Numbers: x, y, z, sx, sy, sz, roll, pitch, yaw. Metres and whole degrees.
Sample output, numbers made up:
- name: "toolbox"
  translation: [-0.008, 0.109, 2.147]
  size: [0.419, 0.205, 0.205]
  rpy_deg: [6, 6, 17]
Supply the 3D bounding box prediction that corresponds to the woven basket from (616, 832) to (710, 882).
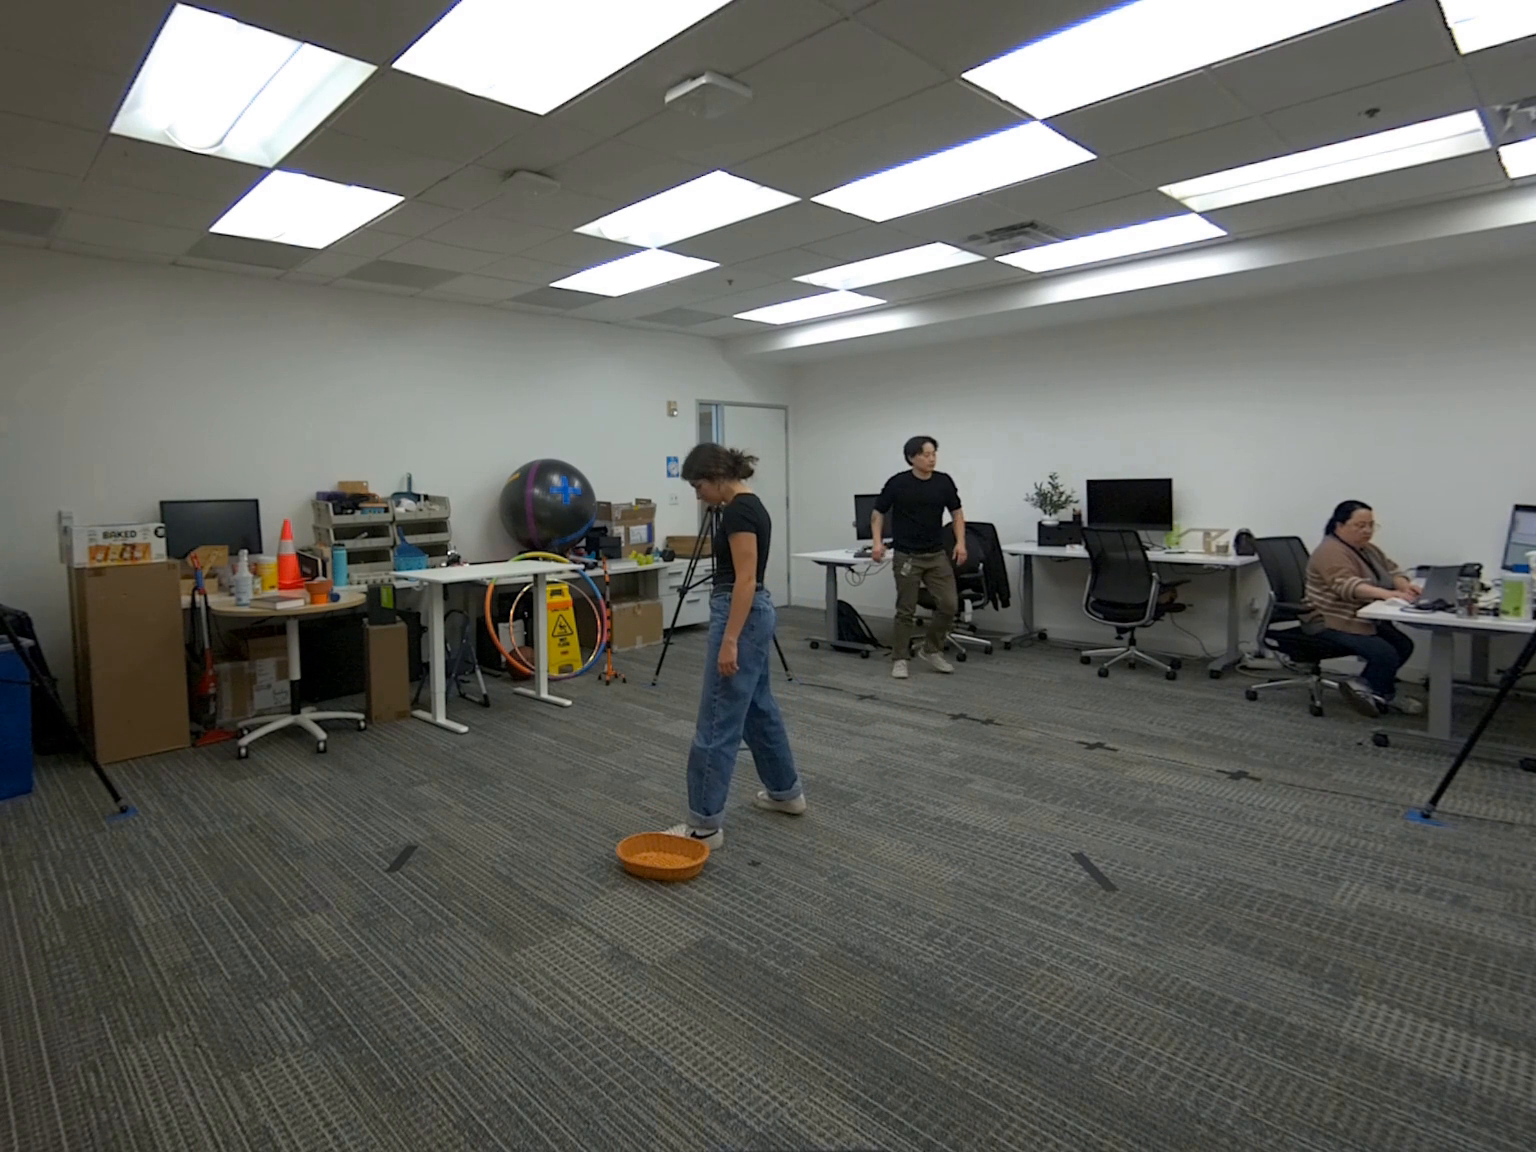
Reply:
- name: "woven basket"
  translation: [-0.378, 1.012, 3.081]
  size: [0.358, 0.073, 0.249]
  rpy_deg: [2, 9, 23]
